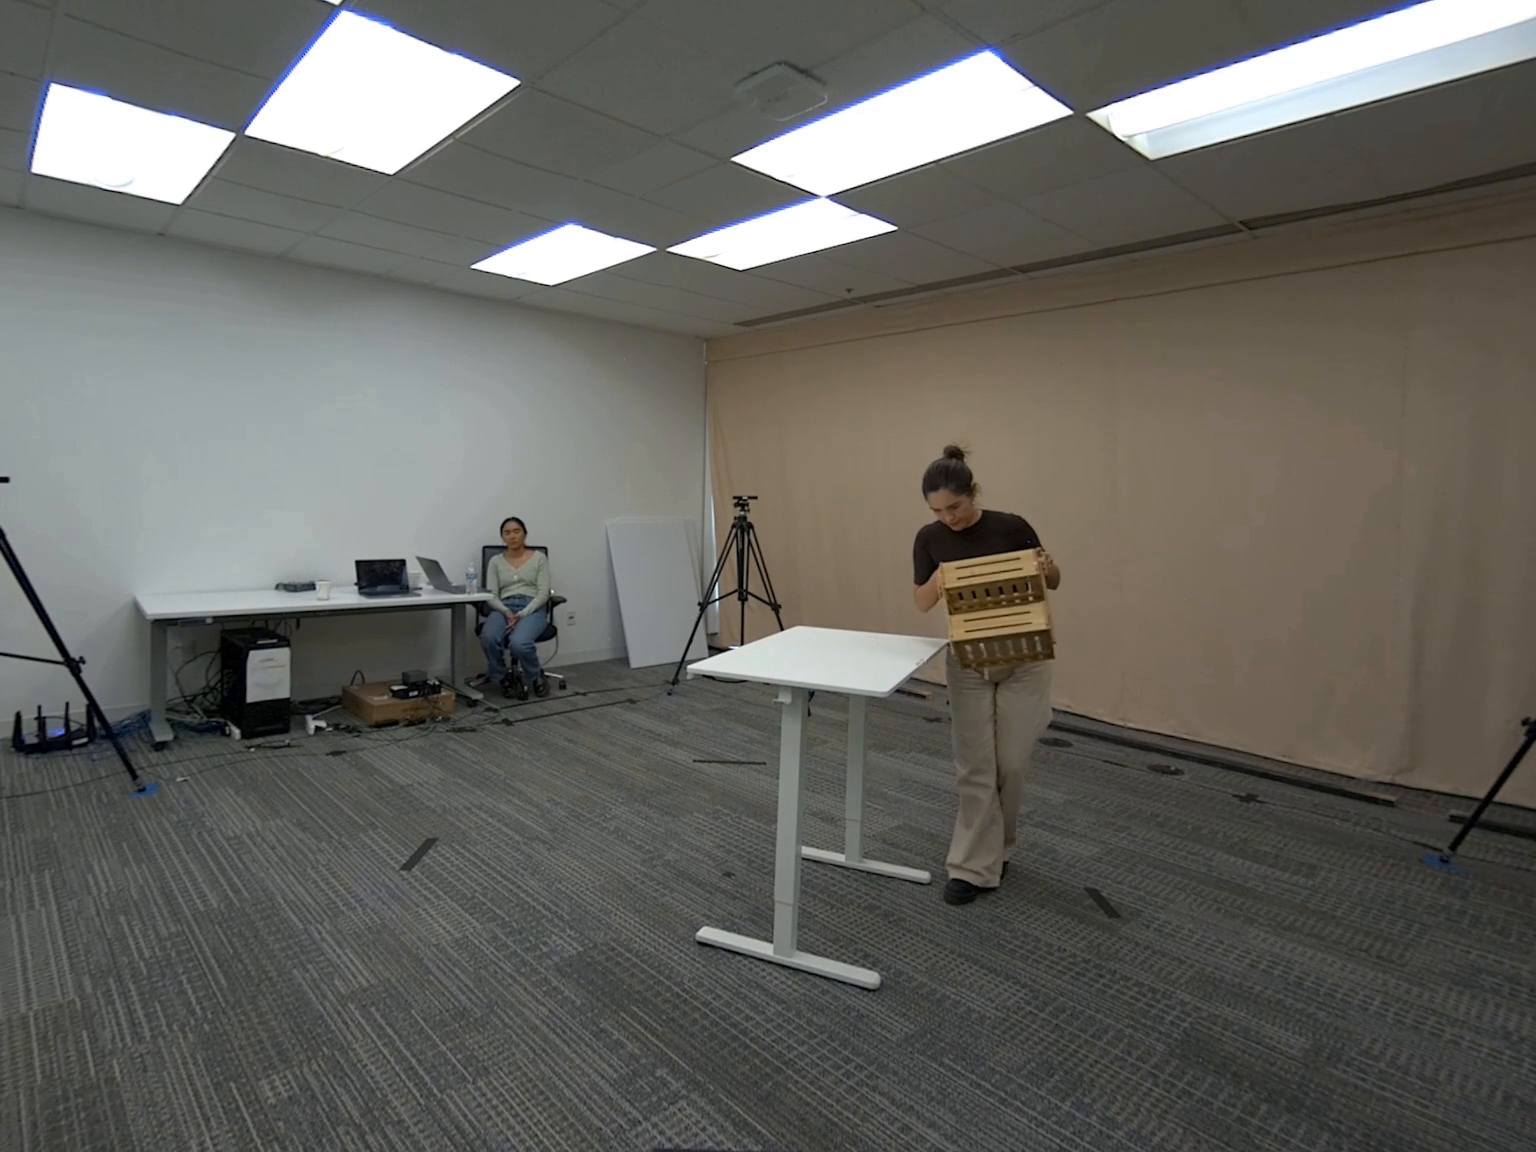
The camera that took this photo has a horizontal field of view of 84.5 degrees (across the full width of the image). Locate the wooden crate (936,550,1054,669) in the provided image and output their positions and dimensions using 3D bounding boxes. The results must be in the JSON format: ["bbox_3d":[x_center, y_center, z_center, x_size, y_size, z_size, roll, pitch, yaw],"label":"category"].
[{"bbox_3d":[0.747,0.122,2.774,0.328,0.278,0.293,-10,-33,19],"label":"wooden crate"}]
